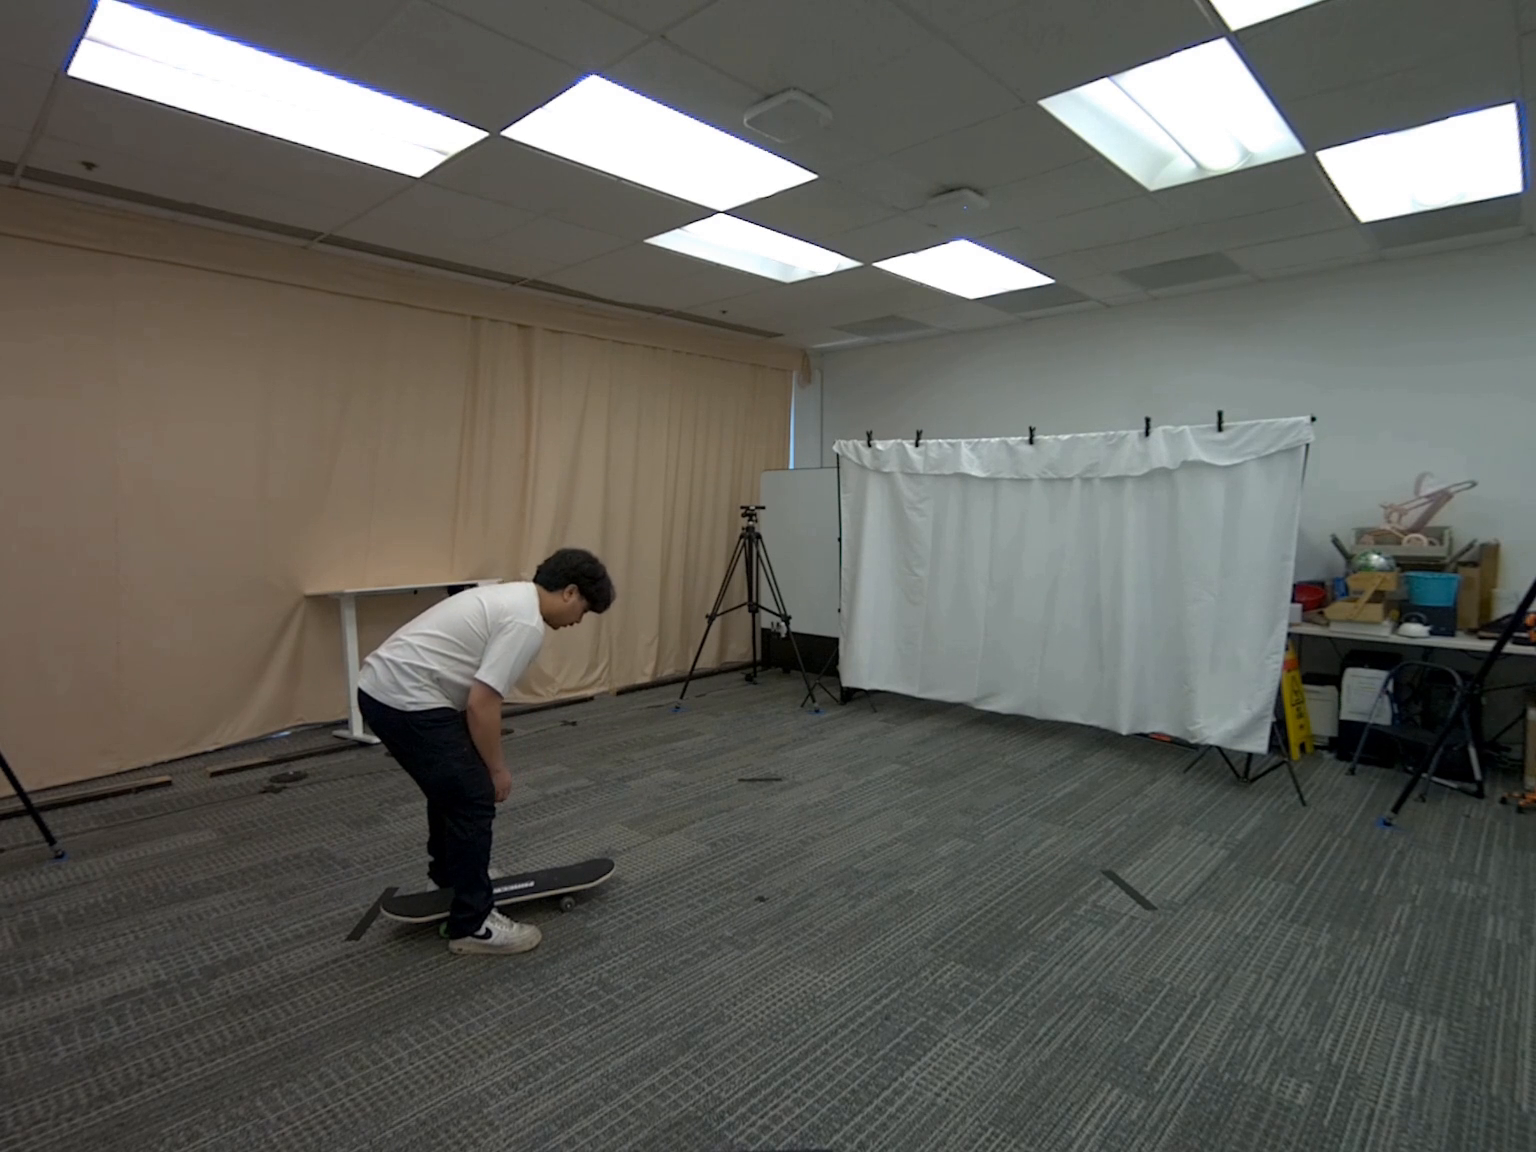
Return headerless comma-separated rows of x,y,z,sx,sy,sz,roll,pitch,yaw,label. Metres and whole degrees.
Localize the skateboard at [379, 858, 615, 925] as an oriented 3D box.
-0.907,1.110,2.879,0.767,0.110,0.199,-3,5,-26,skateboard
